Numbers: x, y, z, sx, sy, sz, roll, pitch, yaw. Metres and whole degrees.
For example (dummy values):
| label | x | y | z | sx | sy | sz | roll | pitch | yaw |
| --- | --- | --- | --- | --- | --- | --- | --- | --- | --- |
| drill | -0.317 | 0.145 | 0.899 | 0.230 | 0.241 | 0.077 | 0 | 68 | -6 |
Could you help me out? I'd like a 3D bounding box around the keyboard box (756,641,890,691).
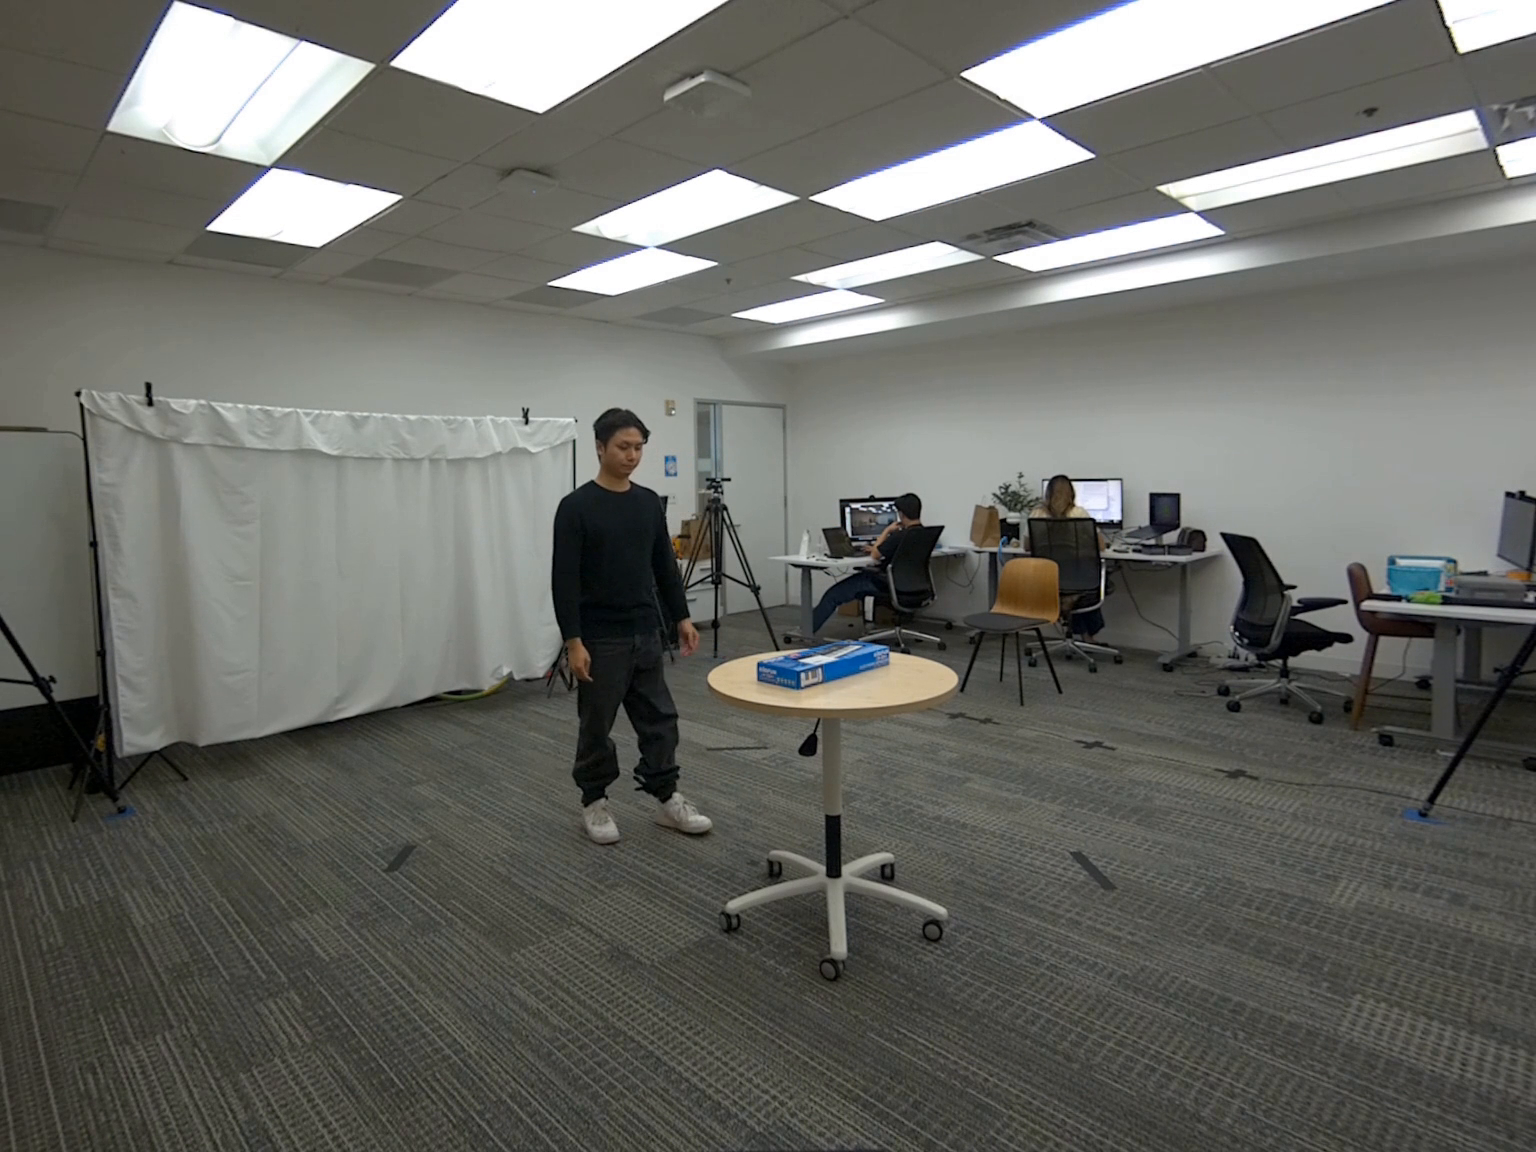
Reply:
| label | x | y | z | sx | sy | sz | roll | pitch | yaw |
| --- | --- | --- | --- | --- | --- | --- | --- | --- | --- |
| keyboard box | 0.180 | 0.273 | 2.682 | 0.426 | 0.059 | 0.181 | -8 | 10 | -43 |
